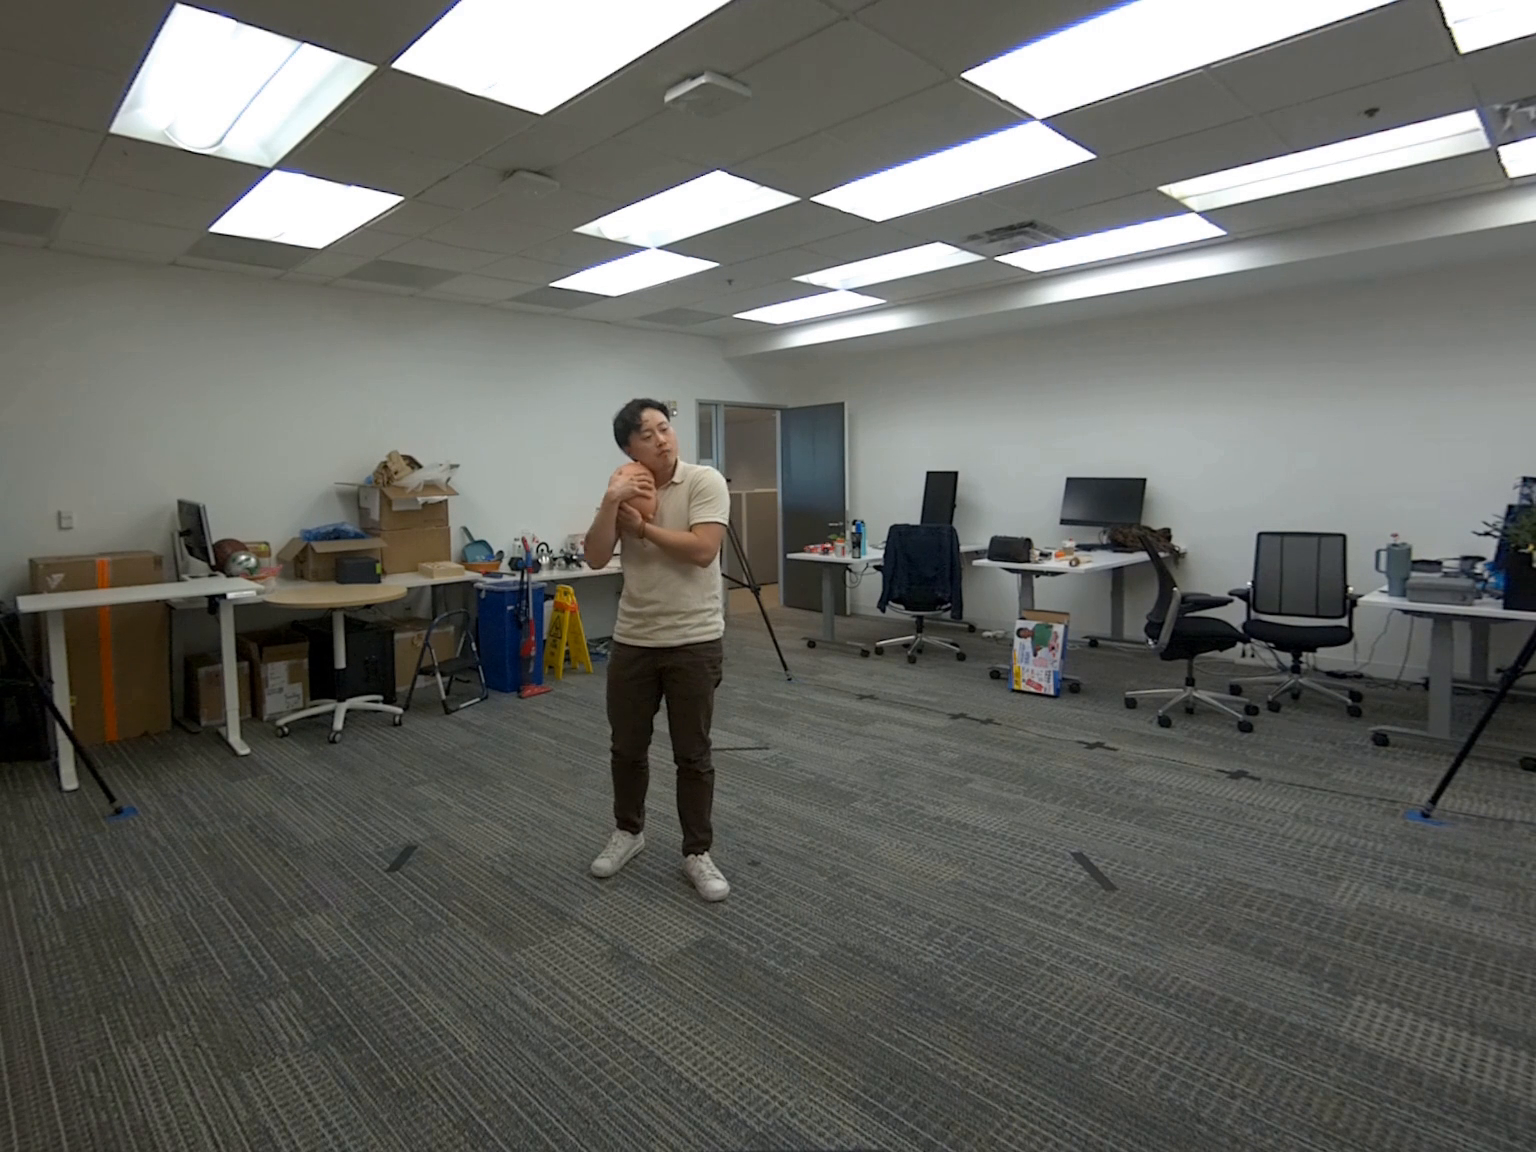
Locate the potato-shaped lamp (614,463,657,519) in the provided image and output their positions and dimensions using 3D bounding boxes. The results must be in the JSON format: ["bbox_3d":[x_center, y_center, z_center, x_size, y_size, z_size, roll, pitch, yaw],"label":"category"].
[{"bbox_3d":[-0.476,-0.281,2.853,0.165,0.166,0.204,-8,40,3],"label":"potato-shaped lamp"}]
